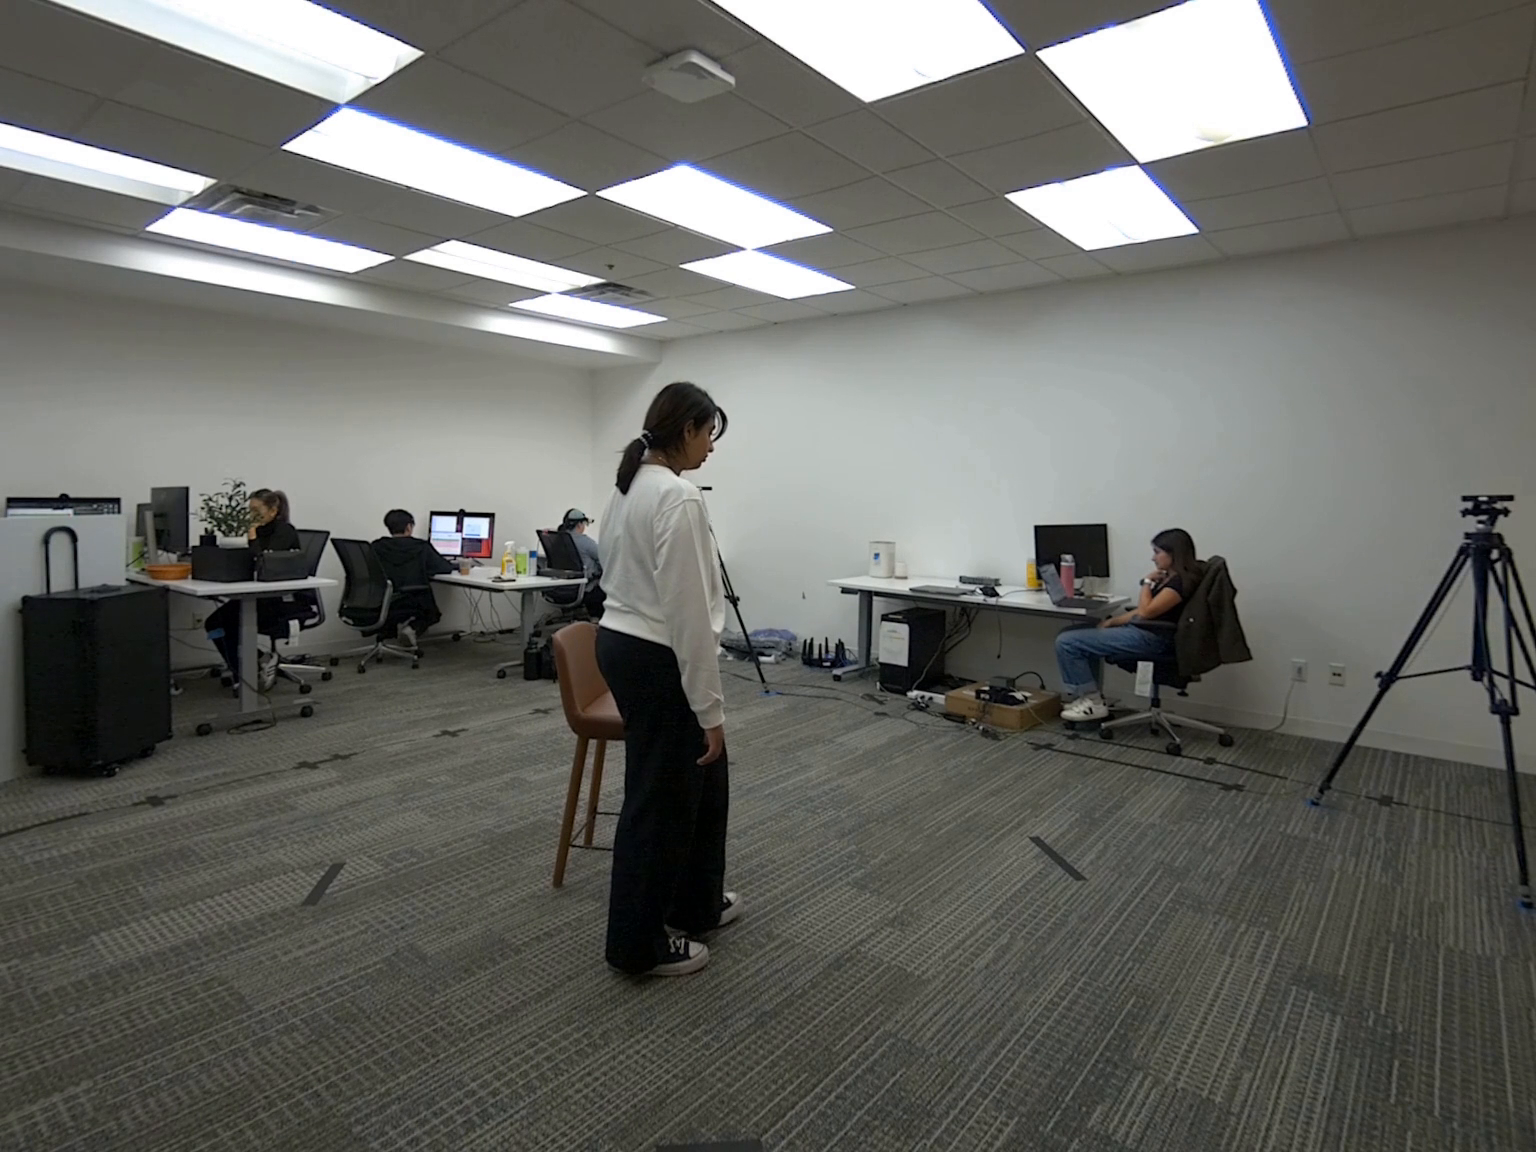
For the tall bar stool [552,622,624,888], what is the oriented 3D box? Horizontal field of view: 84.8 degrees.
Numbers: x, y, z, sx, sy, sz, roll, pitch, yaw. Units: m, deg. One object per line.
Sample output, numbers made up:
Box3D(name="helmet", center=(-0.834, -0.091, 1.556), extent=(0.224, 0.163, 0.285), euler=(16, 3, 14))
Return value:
Box3D(name="tall bar stool", center=(-0.508, 0.631, 3.066), extent=(0.472, 0.888, 0.453), euler=(0, 2, 8))
